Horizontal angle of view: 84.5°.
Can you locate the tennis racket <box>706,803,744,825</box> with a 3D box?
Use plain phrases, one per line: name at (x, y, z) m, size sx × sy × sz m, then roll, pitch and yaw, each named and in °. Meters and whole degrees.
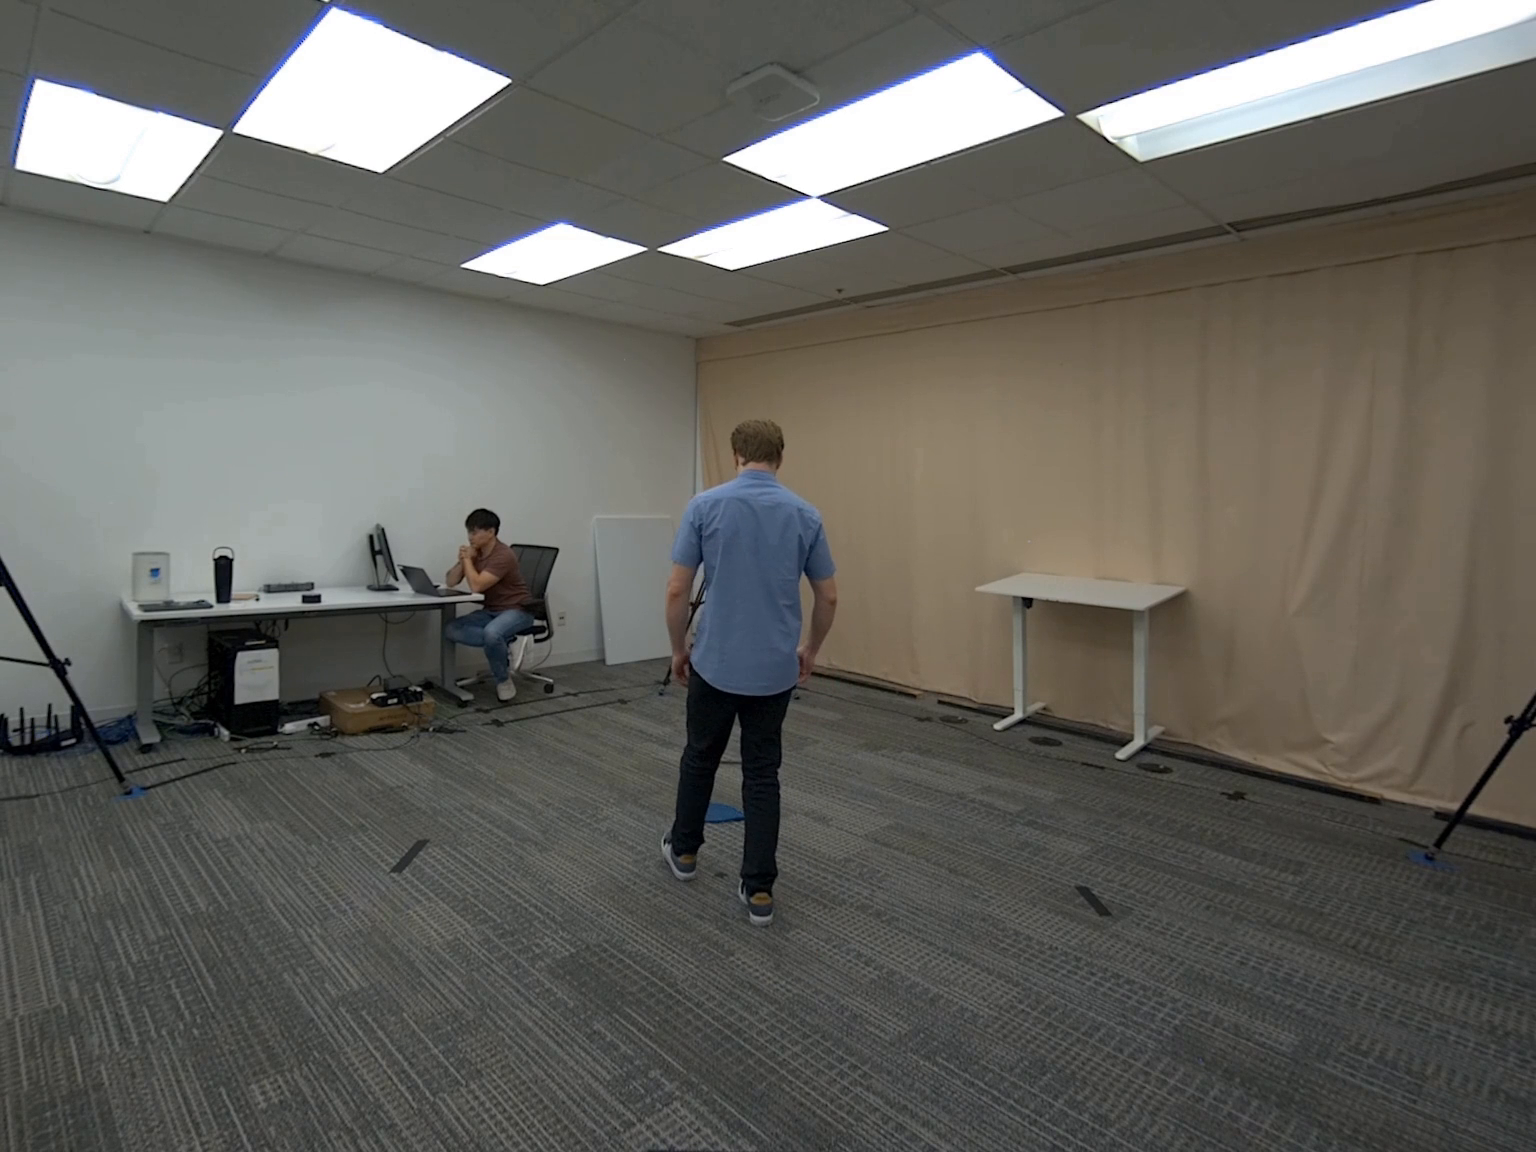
tennis racket at (-0.187, 1.040, 3.673) m, size 0.440 × 0.031 × 0.211 m, roll 2°, pitch 6°, yaw 22°
